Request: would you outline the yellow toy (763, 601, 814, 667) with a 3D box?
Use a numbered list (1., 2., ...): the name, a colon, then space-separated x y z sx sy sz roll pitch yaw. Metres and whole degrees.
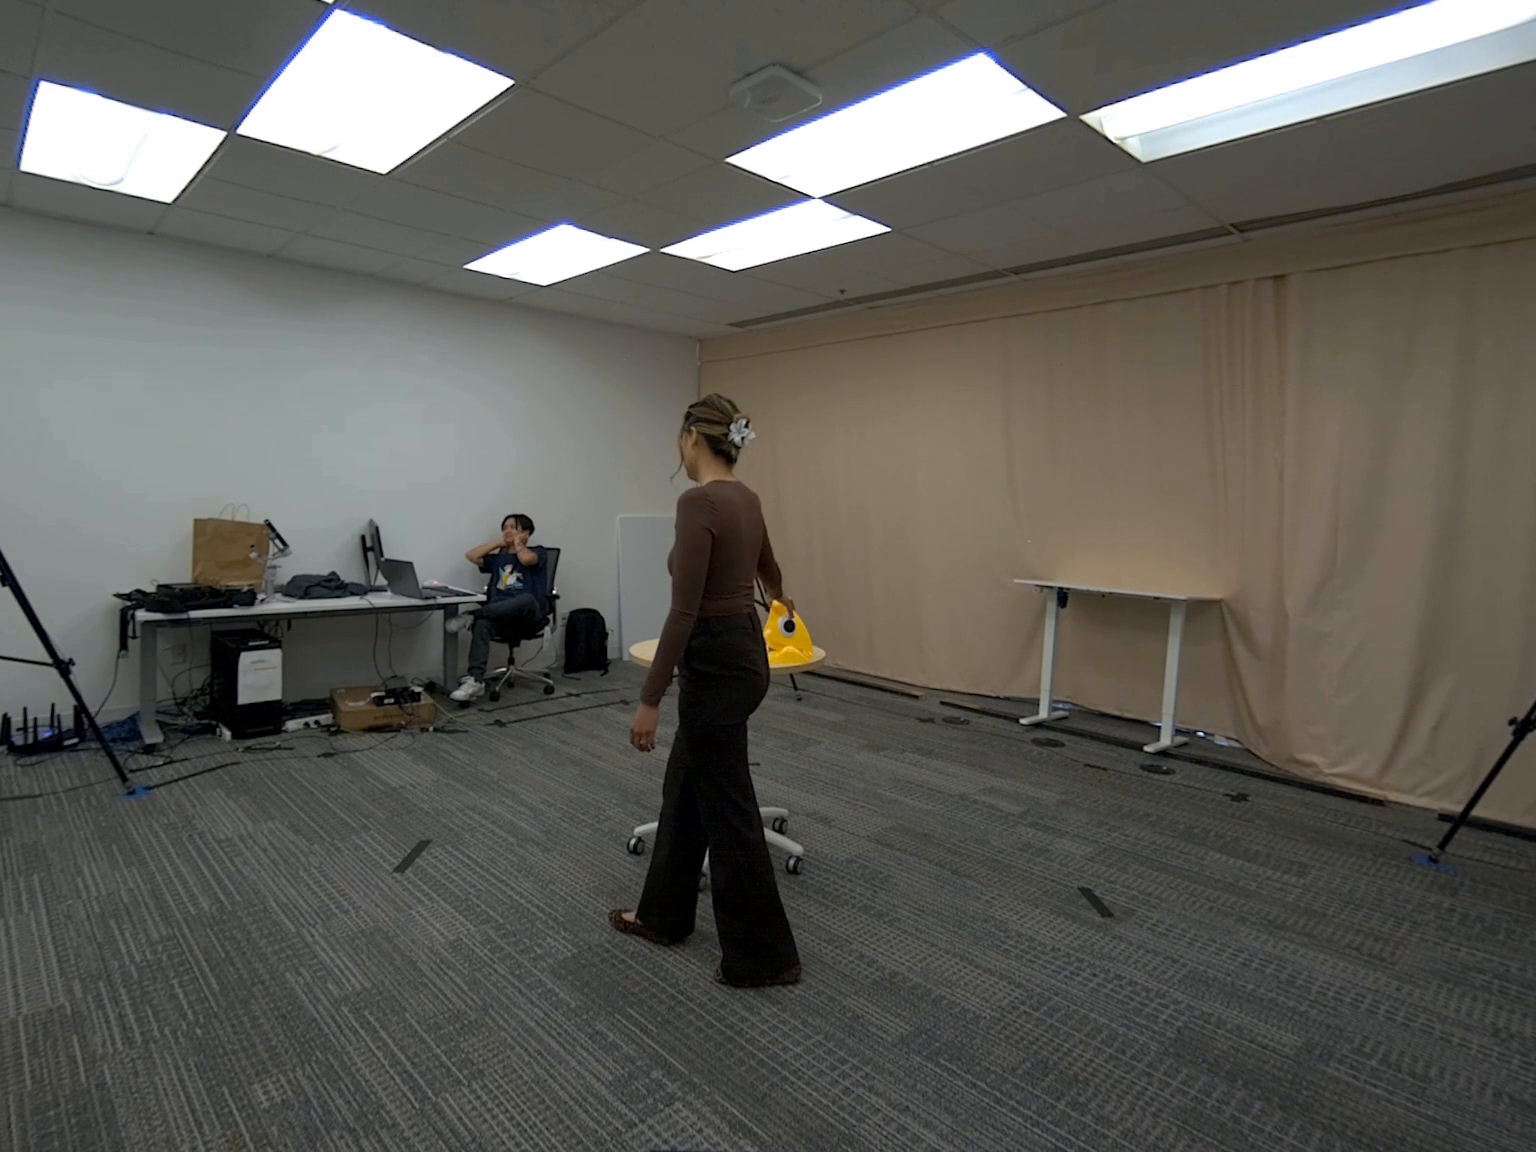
1. yellow toy: 0.069 0.193 3.139 0.195 0.230 0.203 1 4 9
